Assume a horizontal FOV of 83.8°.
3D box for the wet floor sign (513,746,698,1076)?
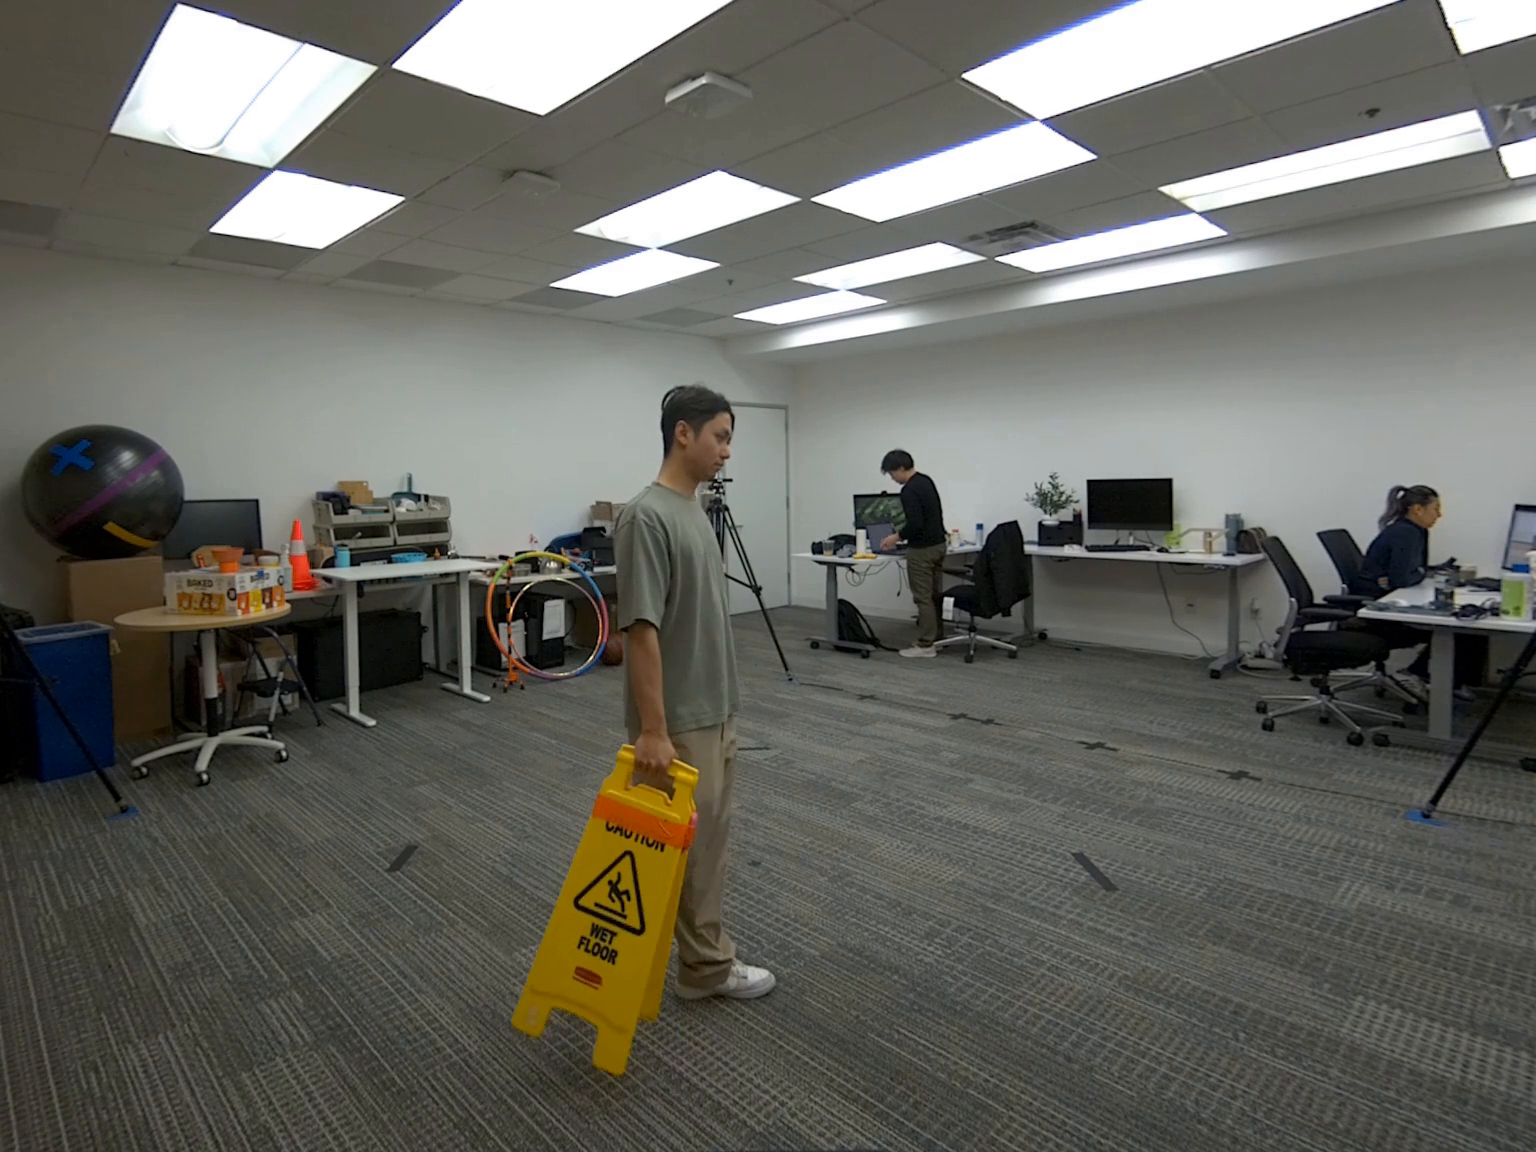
[{"bbox_3d":[-0.322,0.739,1.993,0.287,0.646,0.285,15,0,12],"label":"wet floor sign"}]
